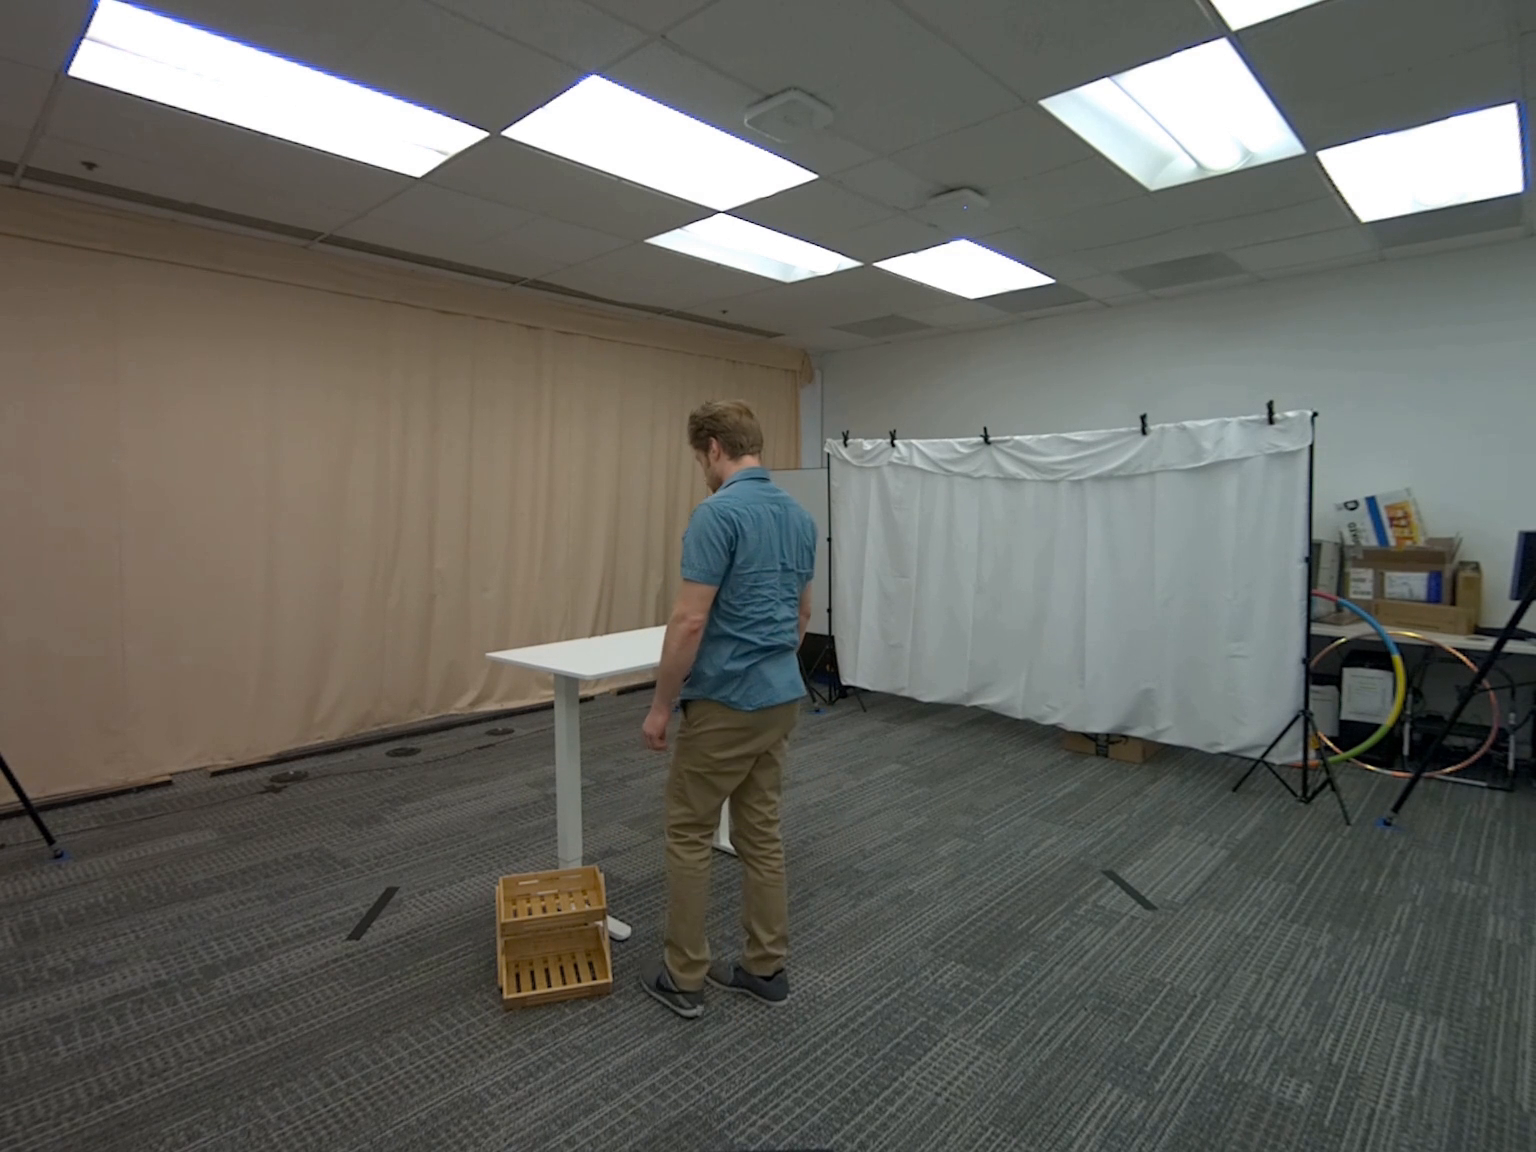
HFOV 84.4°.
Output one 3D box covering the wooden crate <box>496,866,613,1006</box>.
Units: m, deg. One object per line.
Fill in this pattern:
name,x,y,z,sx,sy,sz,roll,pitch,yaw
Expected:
wooden crate,-0.631,1.055,2.480,0.318,0.273,0.308,-1,3,-19
